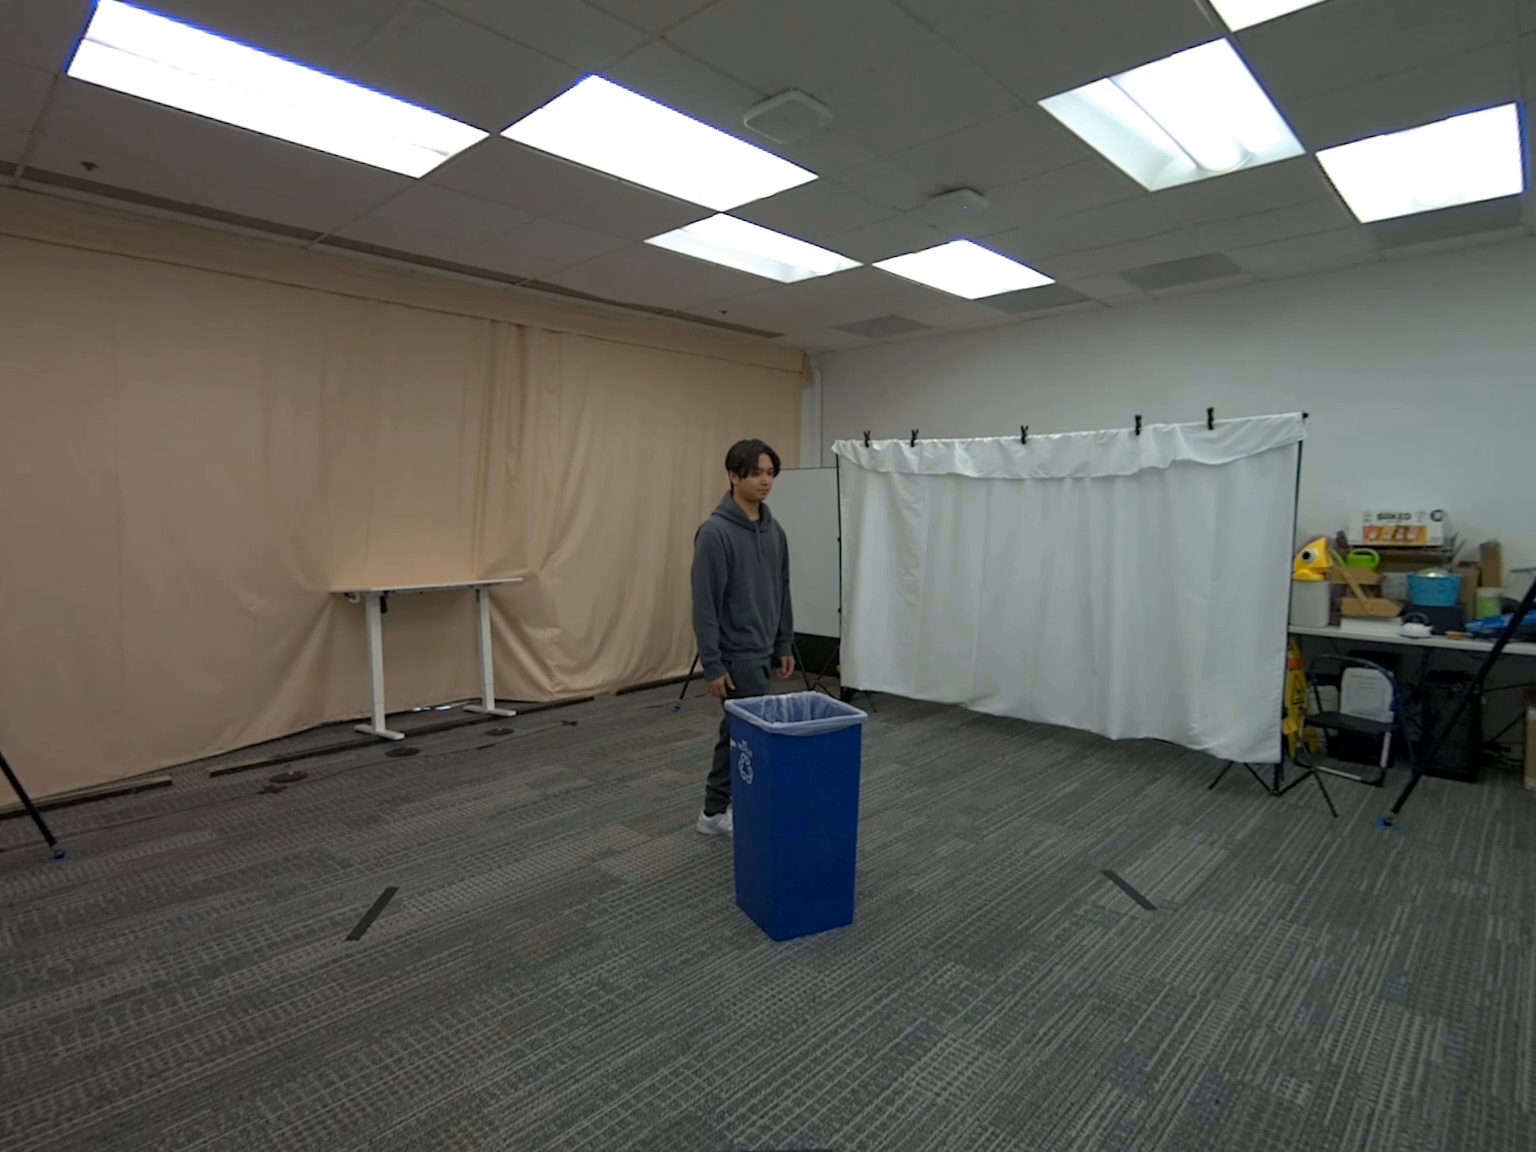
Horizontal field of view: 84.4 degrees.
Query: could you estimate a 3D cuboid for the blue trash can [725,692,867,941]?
[{"bbox_3d":[0.096,0.795,2.856,0.369,0.712,0.384,-2,4,-26],"label":"blue trash can"}]
